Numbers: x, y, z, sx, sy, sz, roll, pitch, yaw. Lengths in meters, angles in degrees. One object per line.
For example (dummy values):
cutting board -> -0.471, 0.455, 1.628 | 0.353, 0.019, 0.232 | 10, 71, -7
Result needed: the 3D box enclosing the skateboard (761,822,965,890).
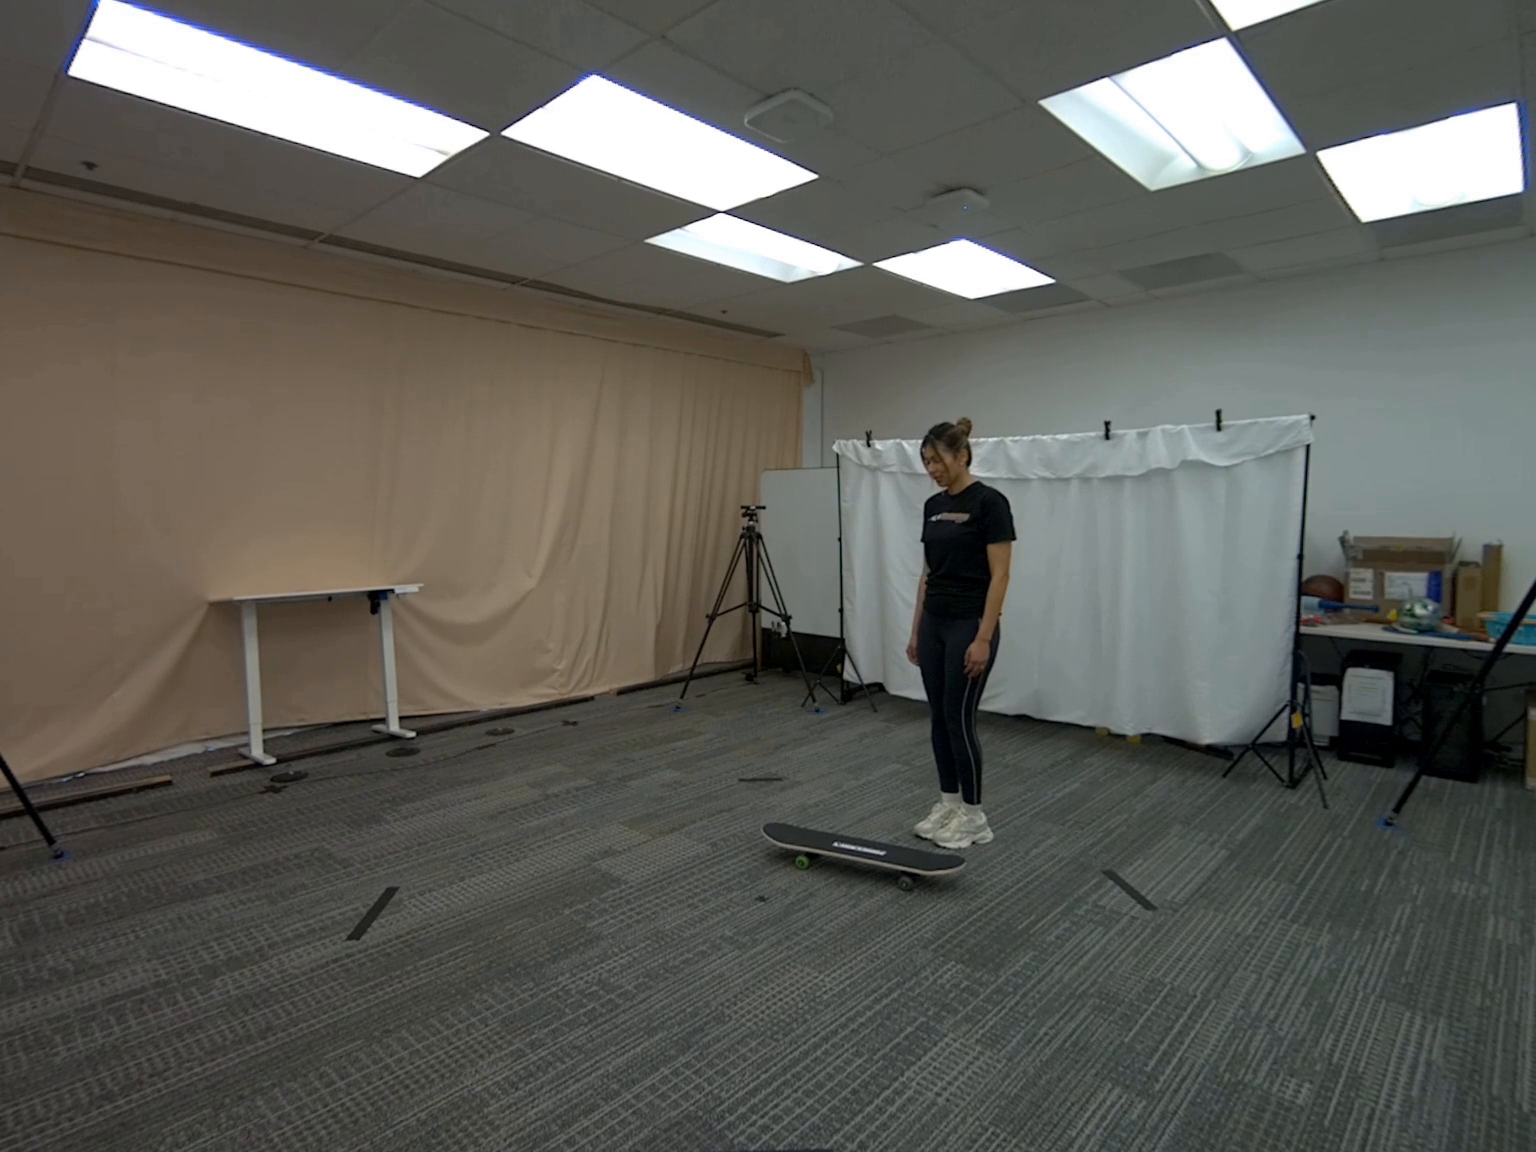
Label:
skateboard -> 0.352, 1.066, 3.203 | 0.806, 0.110, 0.189 | 2, 3, 26
